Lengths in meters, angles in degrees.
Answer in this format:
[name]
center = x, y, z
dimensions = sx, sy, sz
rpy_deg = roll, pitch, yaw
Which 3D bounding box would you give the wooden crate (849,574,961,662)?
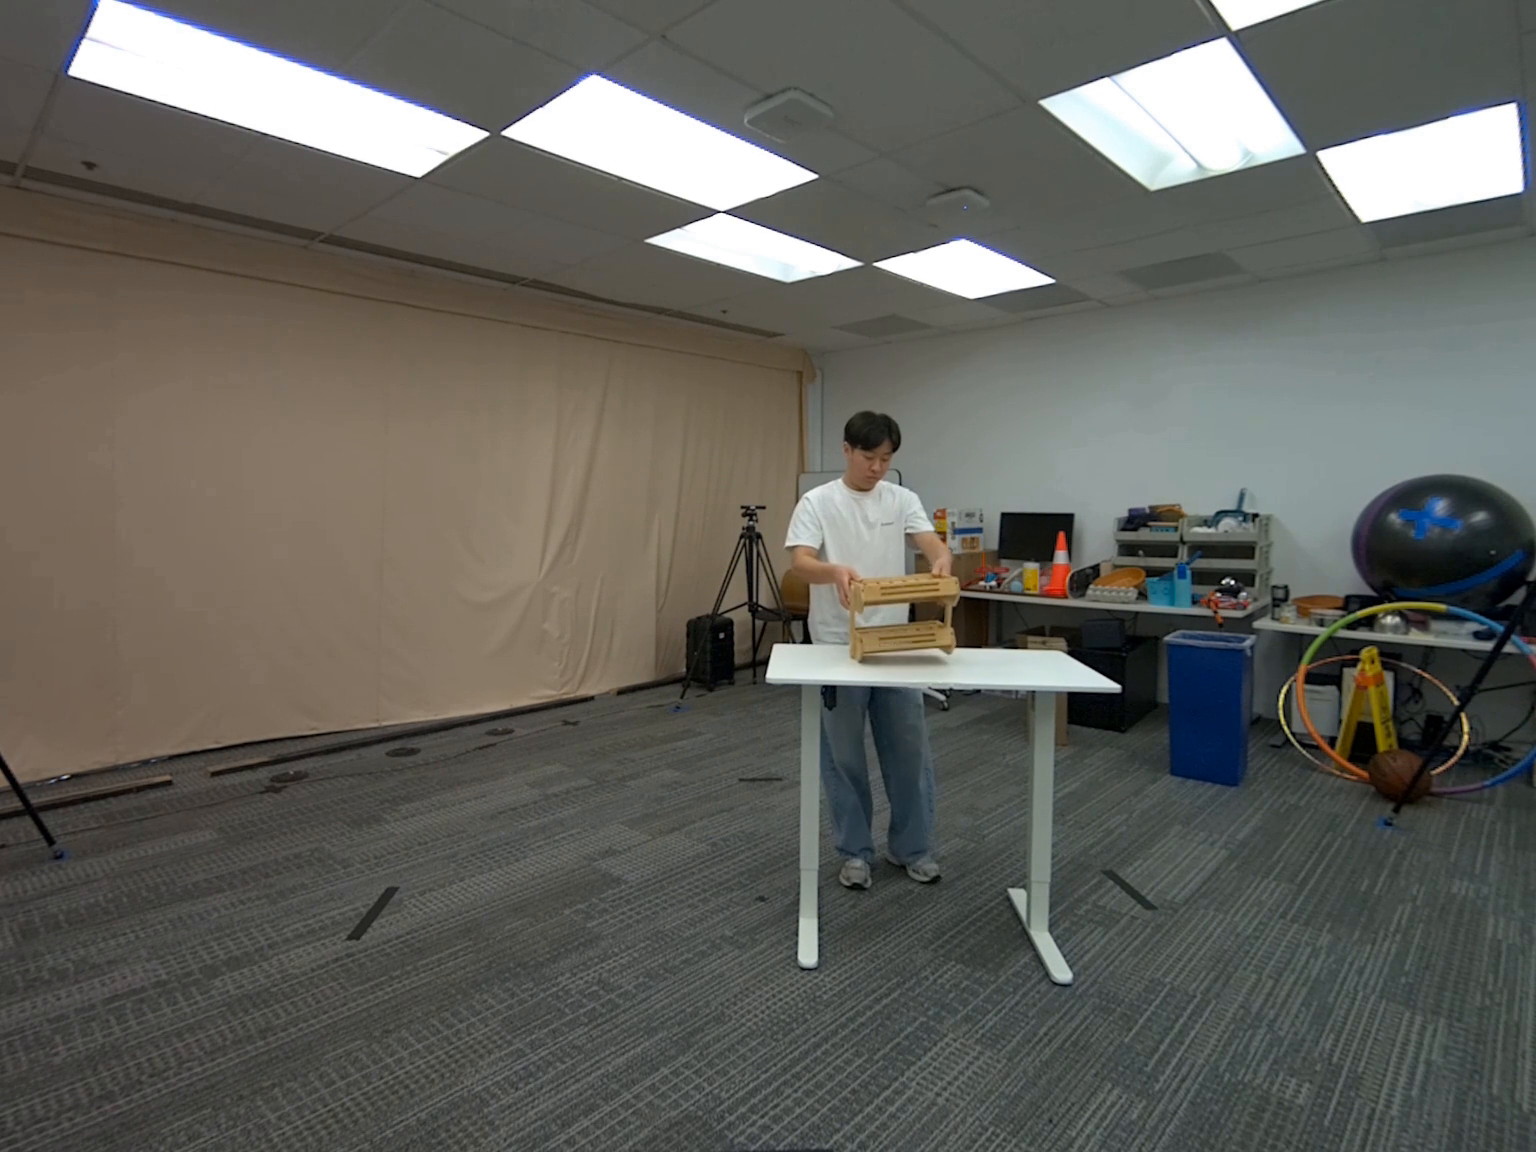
[wooden crate]
center = 0.435, 0.143, 2.708
dimensions = 0.324, 0.273, 0.303
rpy_deg = -3, 4, -2
